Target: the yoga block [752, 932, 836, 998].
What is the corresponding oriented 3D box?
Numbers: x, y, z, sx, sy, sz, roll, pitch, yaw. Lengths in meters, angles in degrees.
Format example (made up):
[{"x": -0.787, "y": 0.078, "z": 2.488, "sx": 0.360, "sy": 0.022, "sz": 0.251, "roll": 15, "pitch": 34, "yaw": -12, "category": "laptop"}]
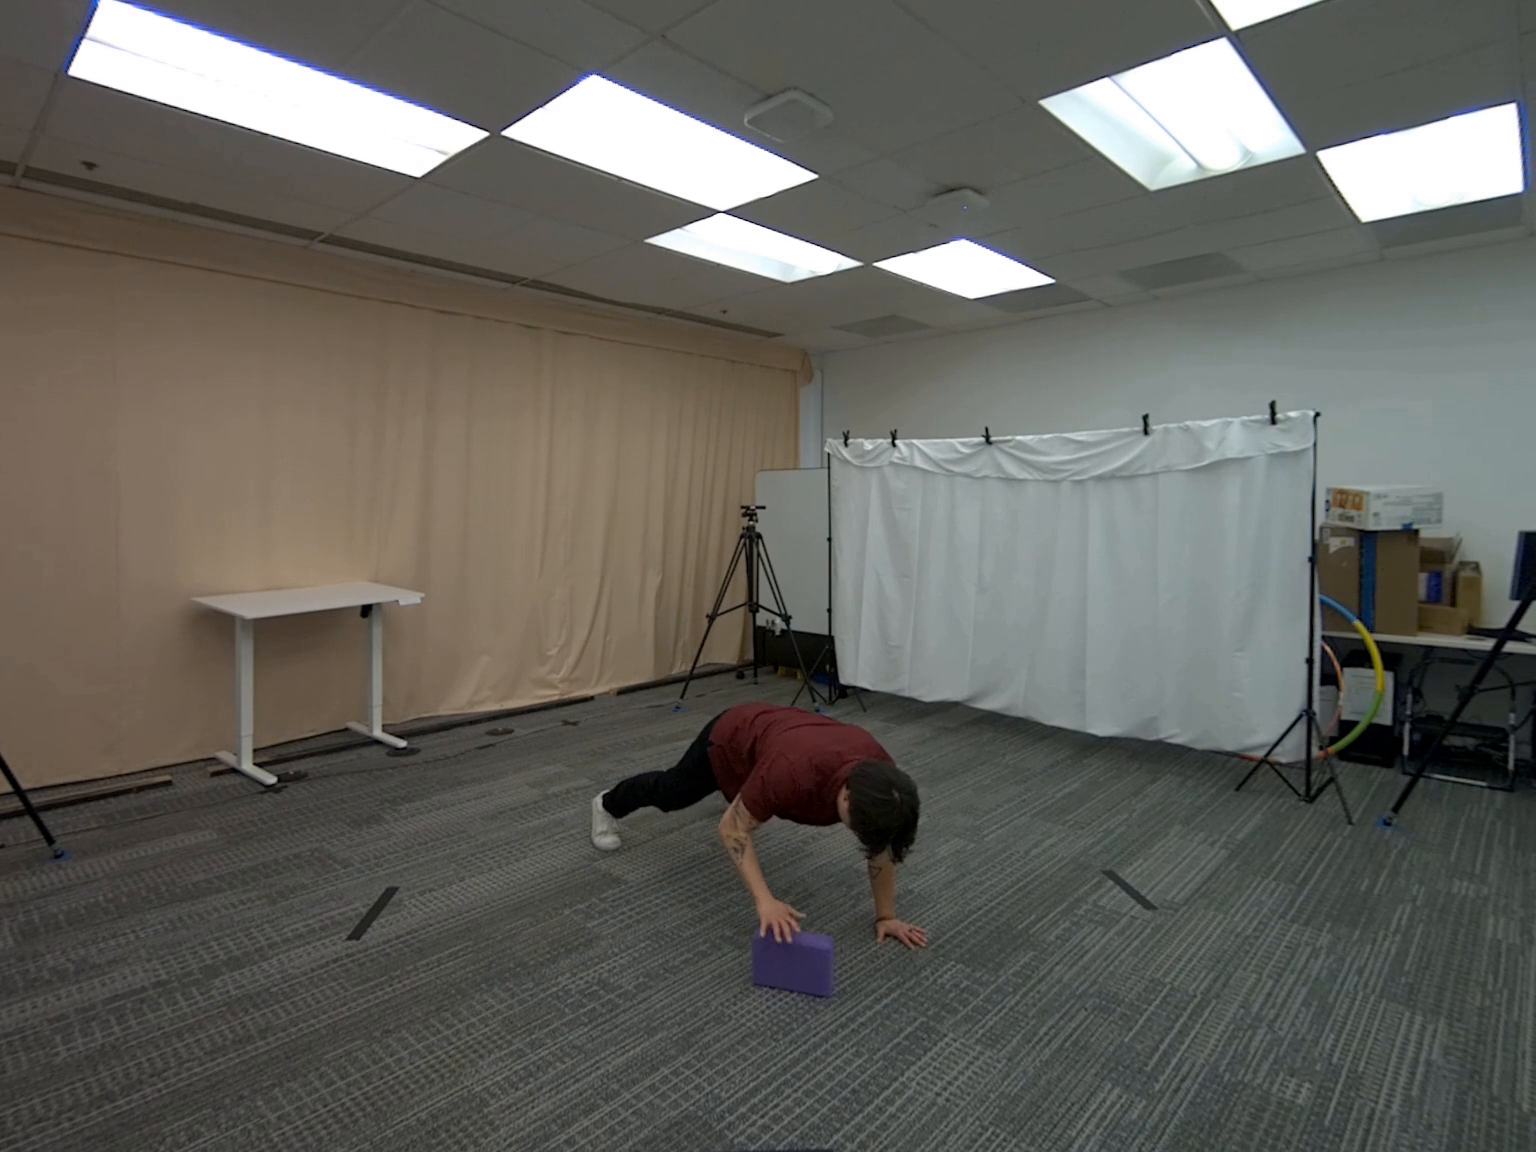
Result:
[{"x": 0.078, "y": 1.109, "z": 2.439, "sx": 0.234, "sy": 0.148, "sz": 0.075, "roll": 0, "pitch": 5, "yaw": 18, "category": "yoga block"}]
